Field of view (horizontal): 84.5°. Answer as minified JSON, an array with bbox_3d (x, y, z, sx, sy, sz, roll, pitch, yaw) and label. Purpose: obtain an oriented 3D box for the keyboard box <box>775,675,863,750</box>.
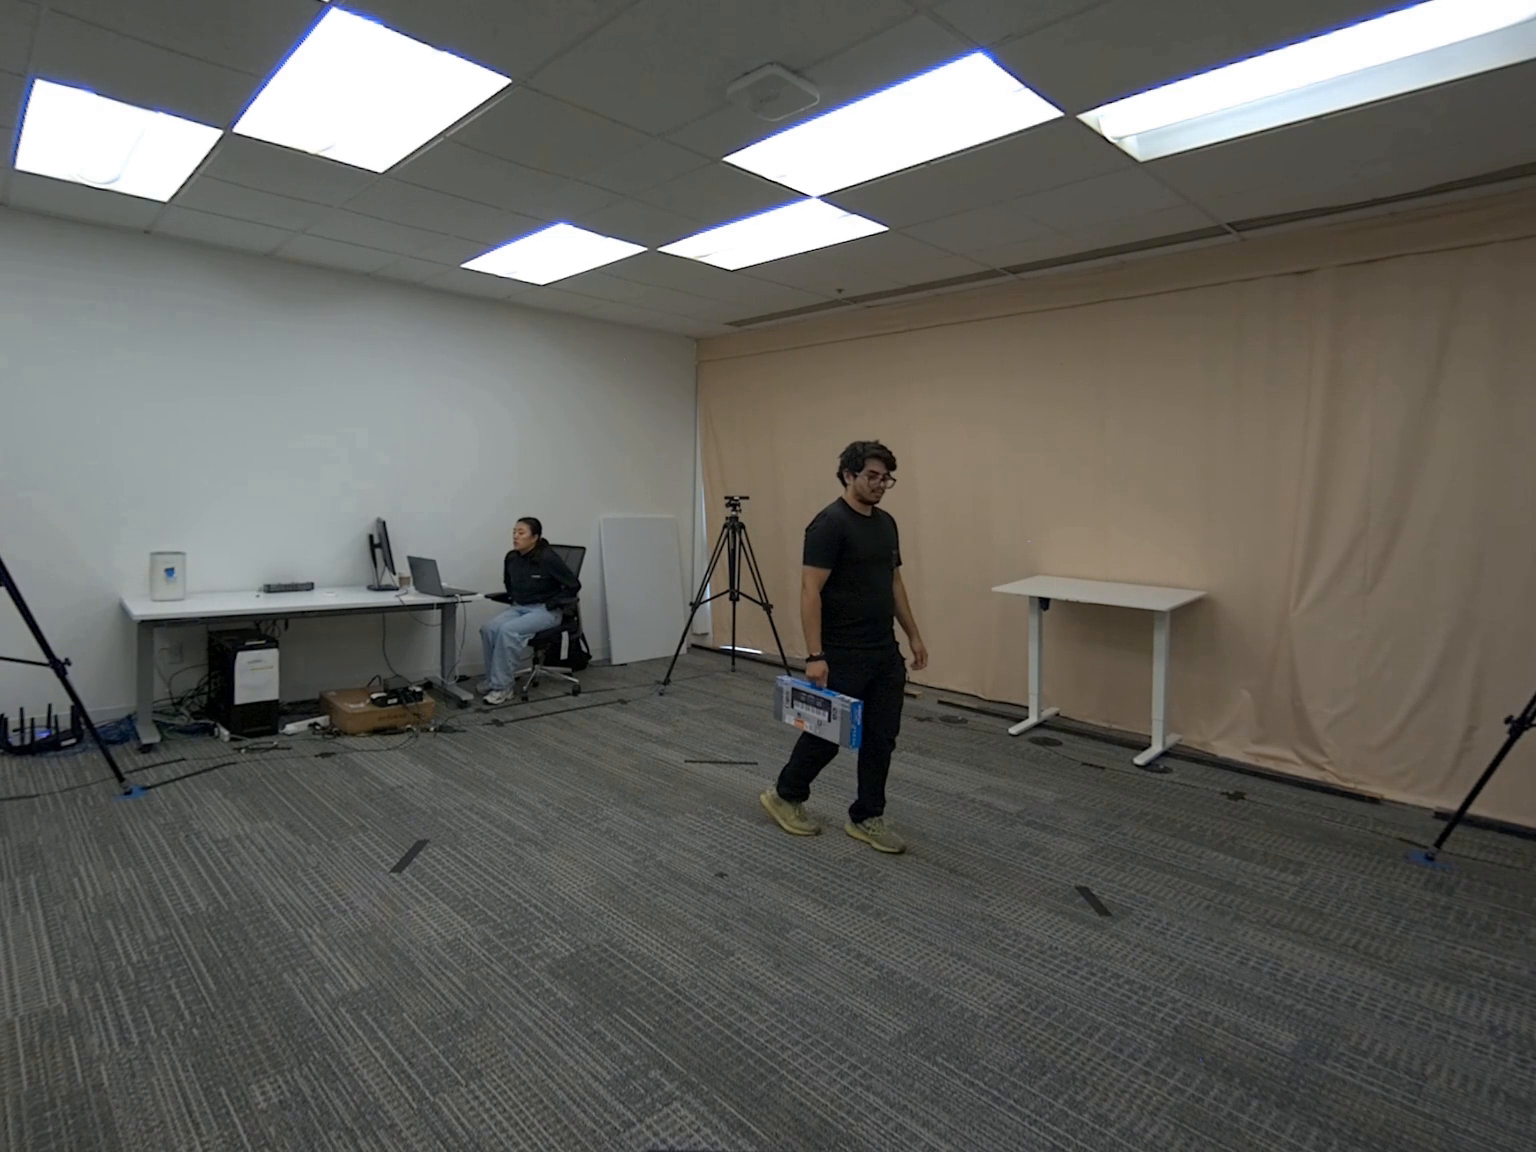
[{"bbox_3d":[0.178,0.513,3.215,0.058,0.175,0.448,-1,7,-38],"label":"keyboard box"}]
